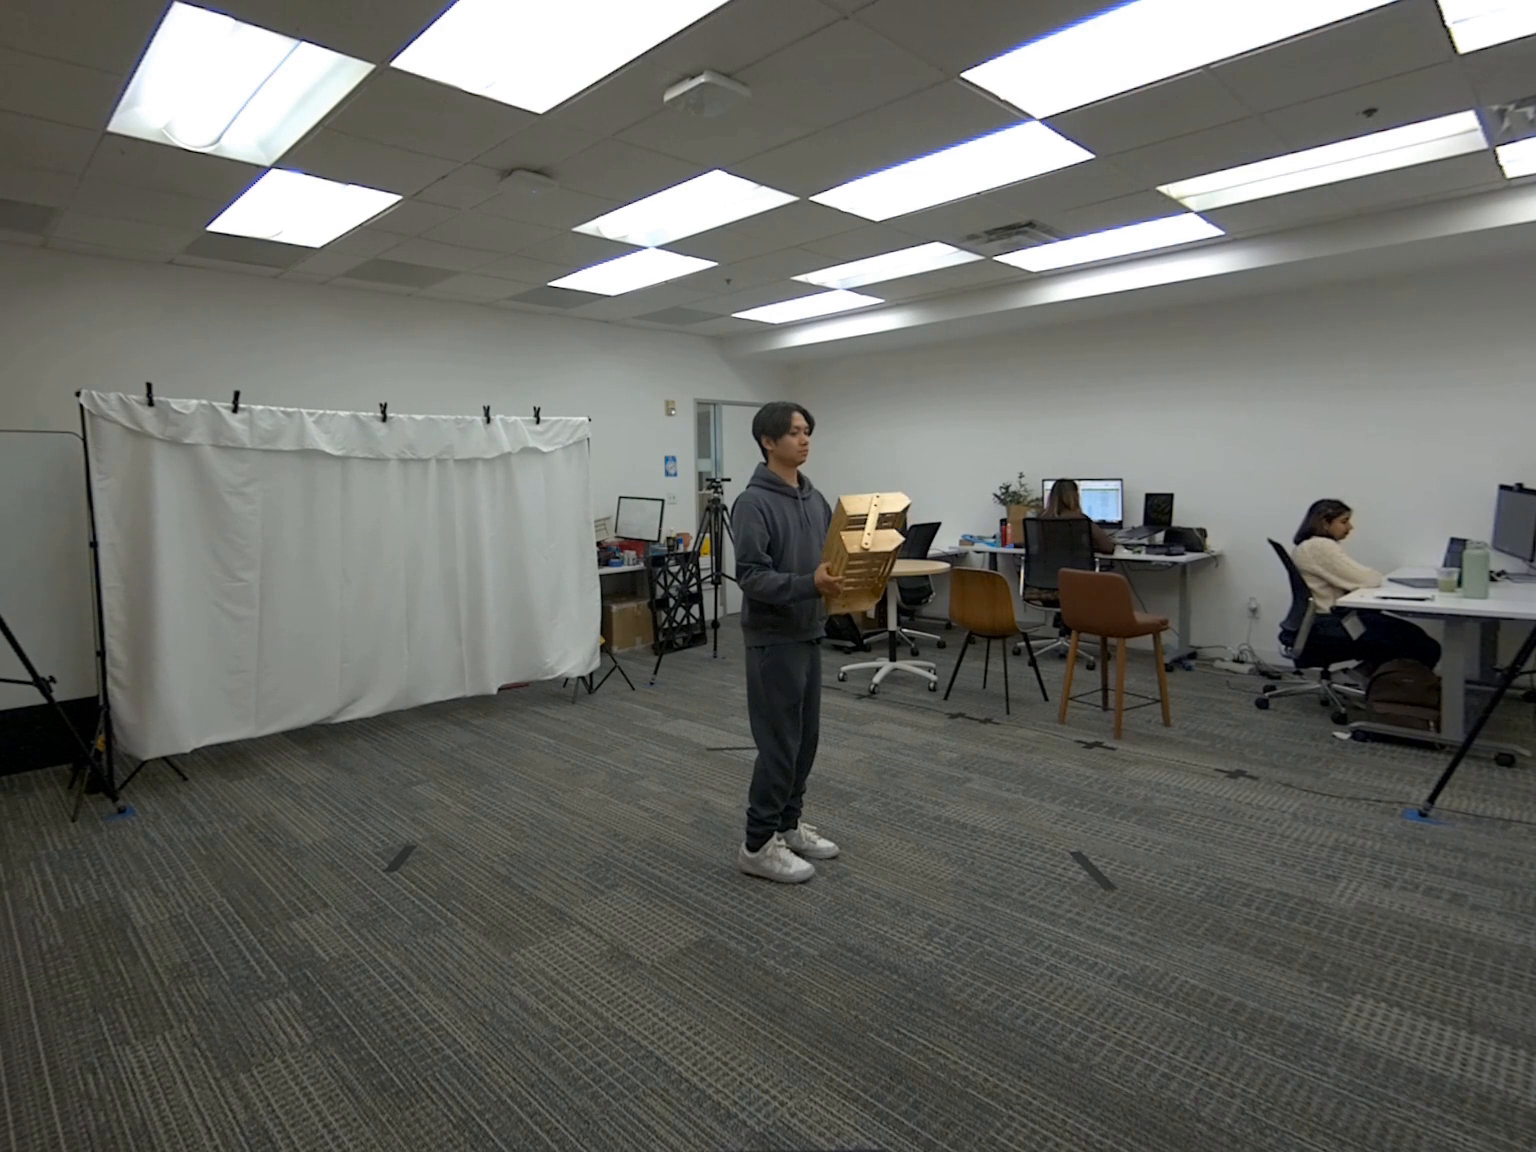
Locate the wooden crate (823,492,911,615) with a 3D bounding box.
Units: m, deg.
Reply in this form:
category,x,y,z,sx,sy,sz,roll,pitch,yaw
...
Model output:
category,x,y,z,sx,sy,sz,roll,pitch,yaw
wooden crate,0.338,-0.076,2.875,0.298,0.318,0.283,-5,48,-16
